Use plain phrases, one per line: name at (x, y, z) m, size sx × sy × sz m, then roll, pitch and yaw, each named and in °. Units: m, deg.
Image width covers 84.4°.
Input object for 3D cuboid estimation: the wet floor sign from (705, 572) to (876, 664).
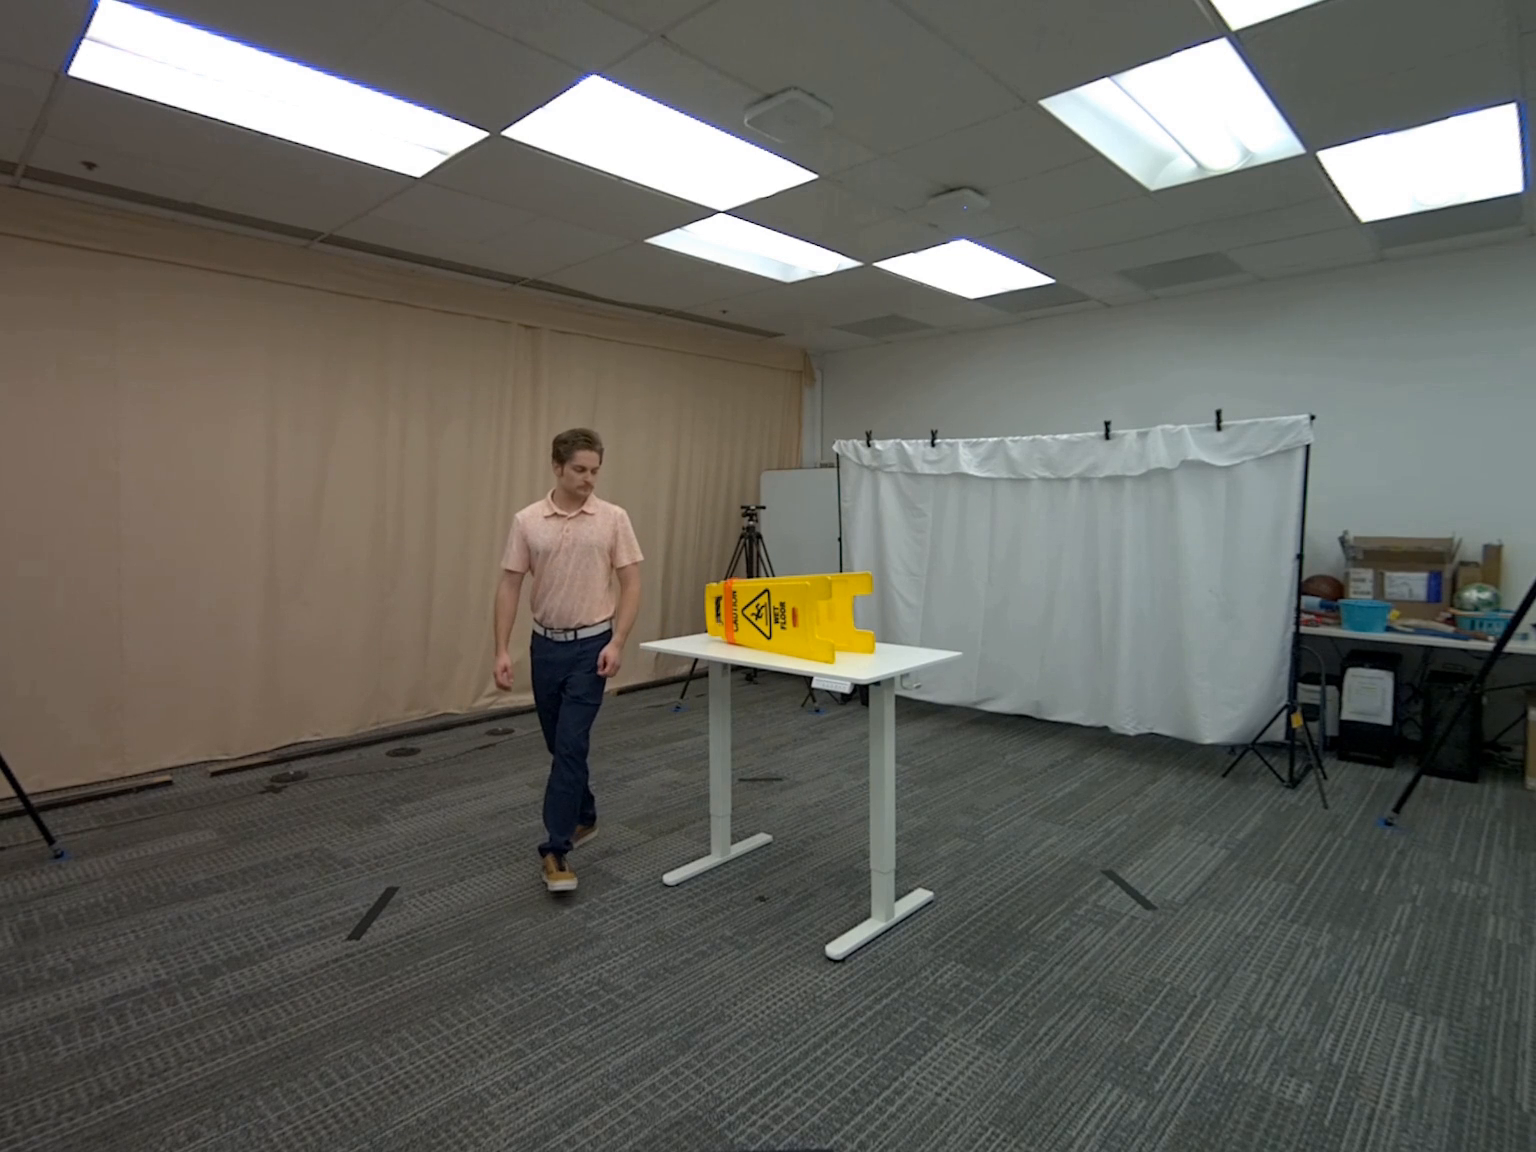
wet floor sign at (0.034, 0.135, 2.993) m, size 0.667 × 0.282 × 0.281 m, roll 1°, pitch 4°, yaw 41°
